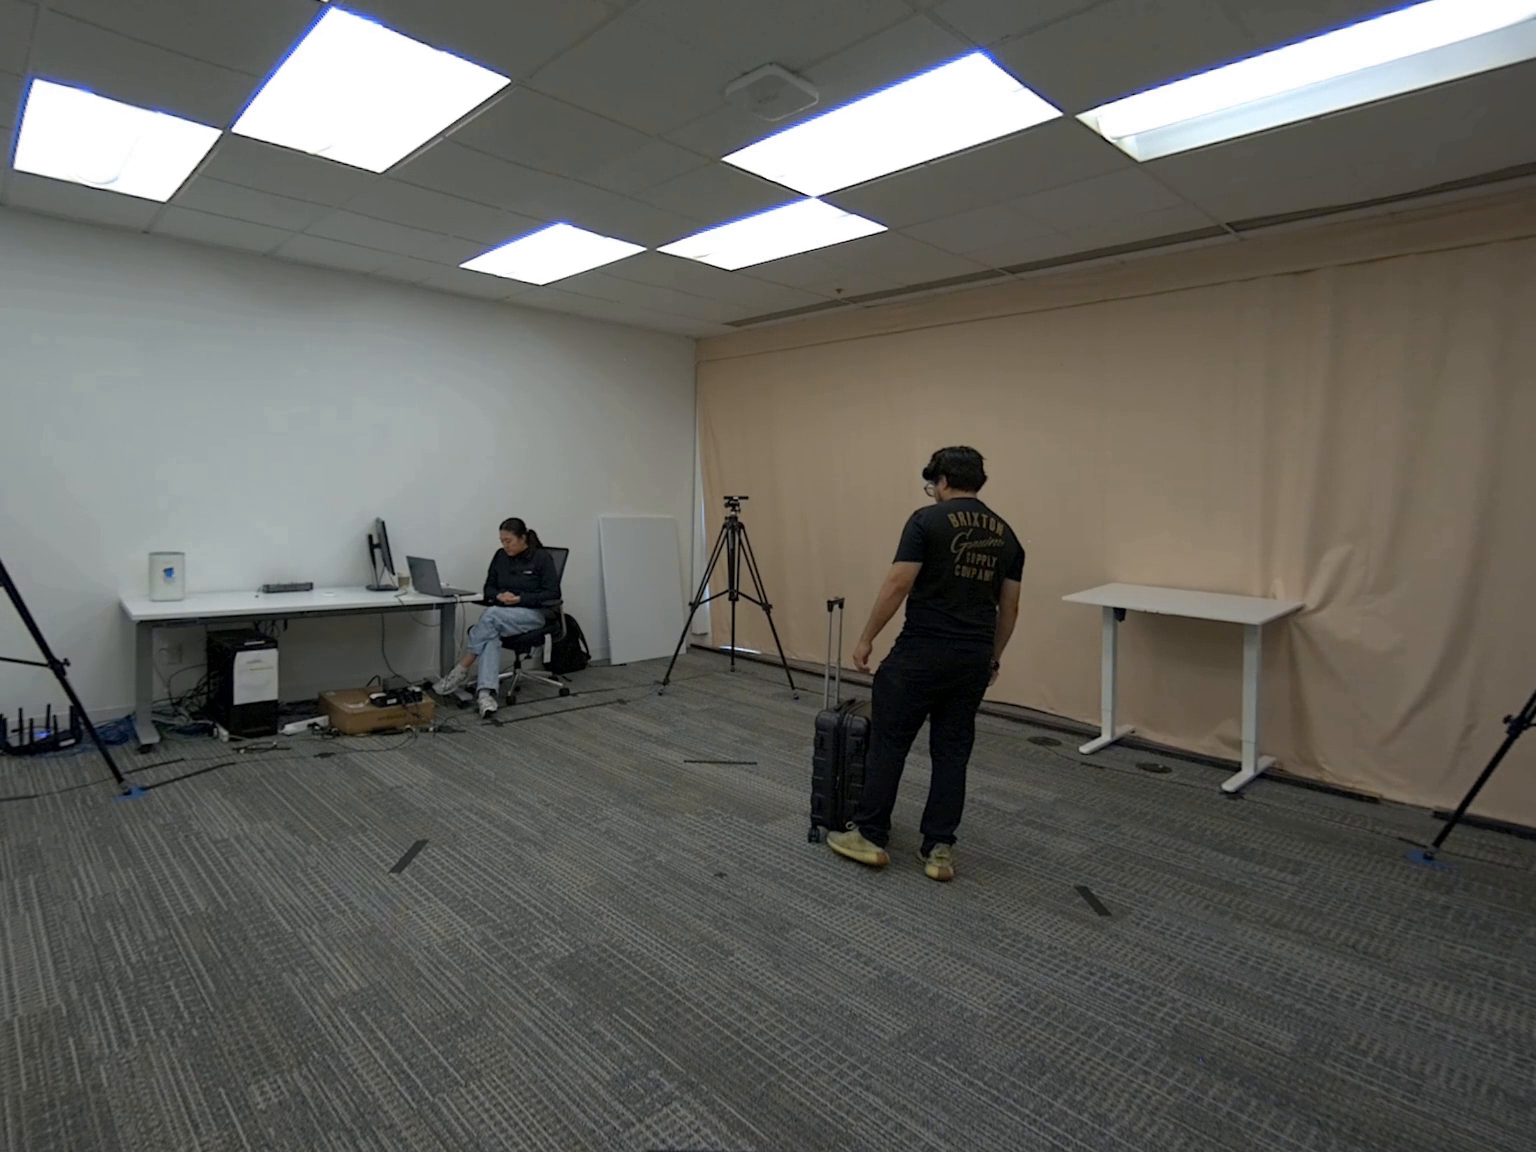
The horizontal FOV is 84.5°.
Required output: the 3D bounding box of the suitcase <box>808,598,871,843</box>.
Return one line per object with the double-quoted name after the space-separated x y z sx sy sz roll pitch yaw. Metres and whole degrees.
0.358 0.598 3.519 0.262 0.976 0.377 4 4 24 "suitcase"
